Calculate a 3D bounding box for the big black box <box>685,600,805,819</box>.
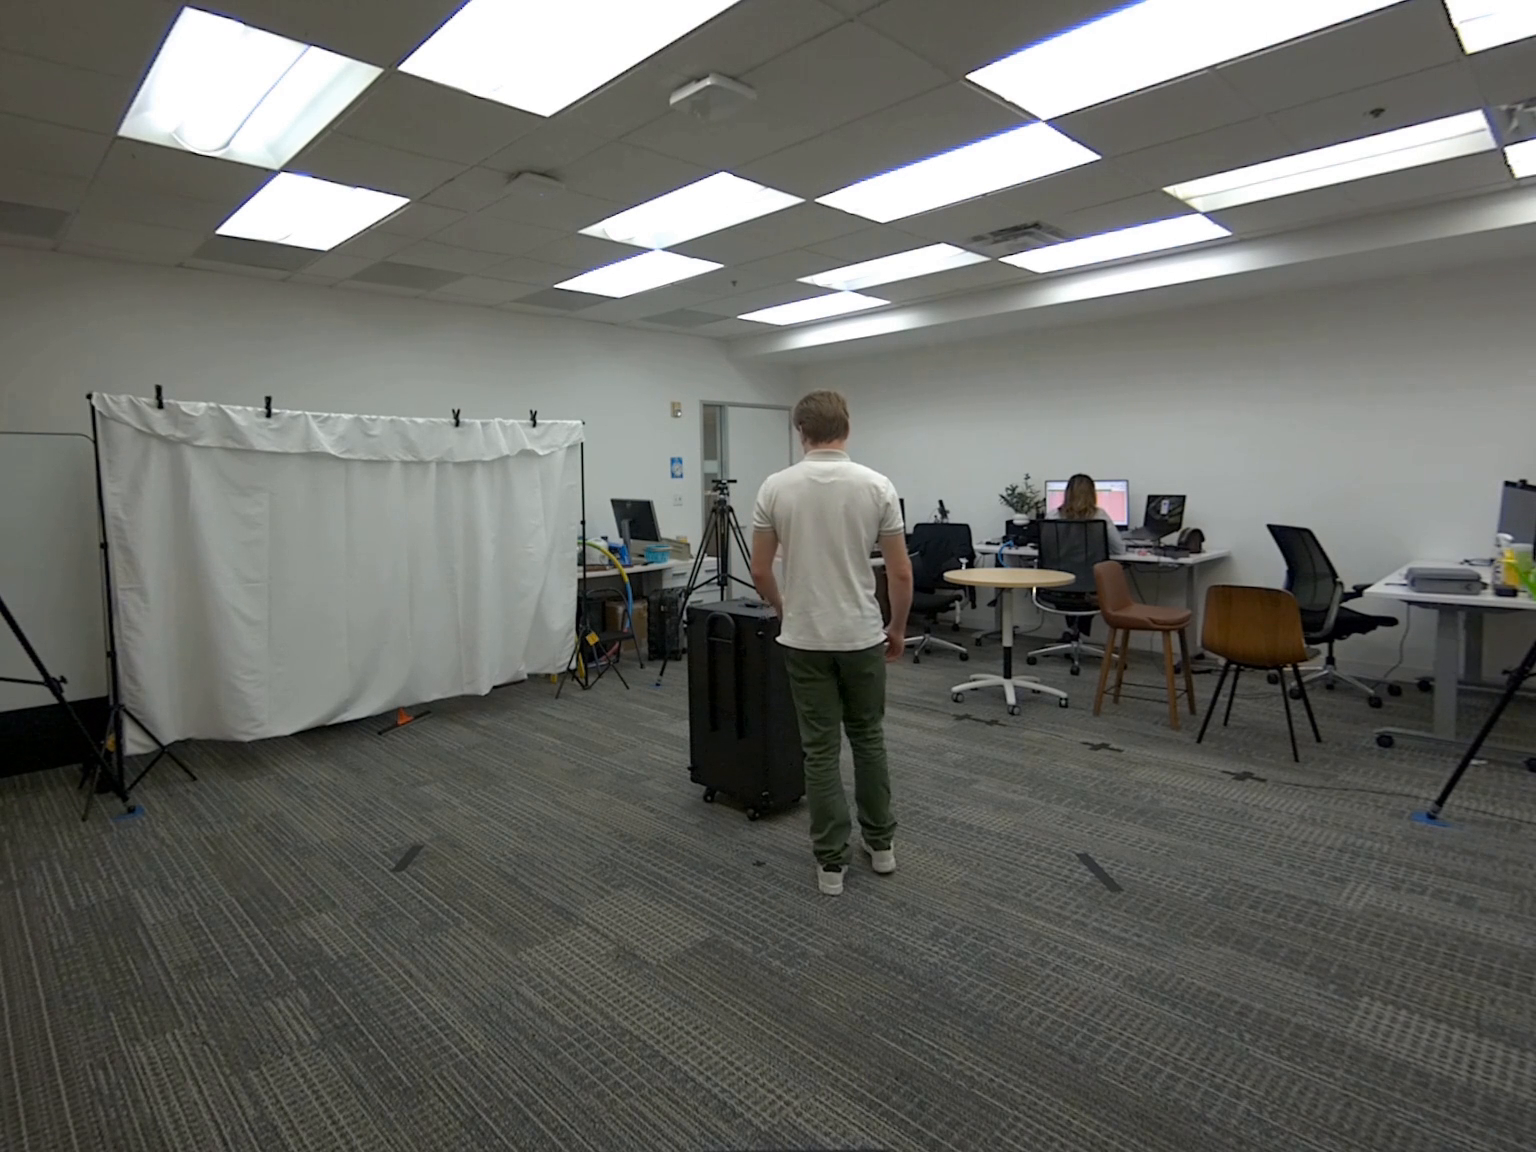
[{"bbox_3d":[-0.054,0.561,3.694,0.539,0.865,0.375,3,6,45],"label":"big black box"}]
